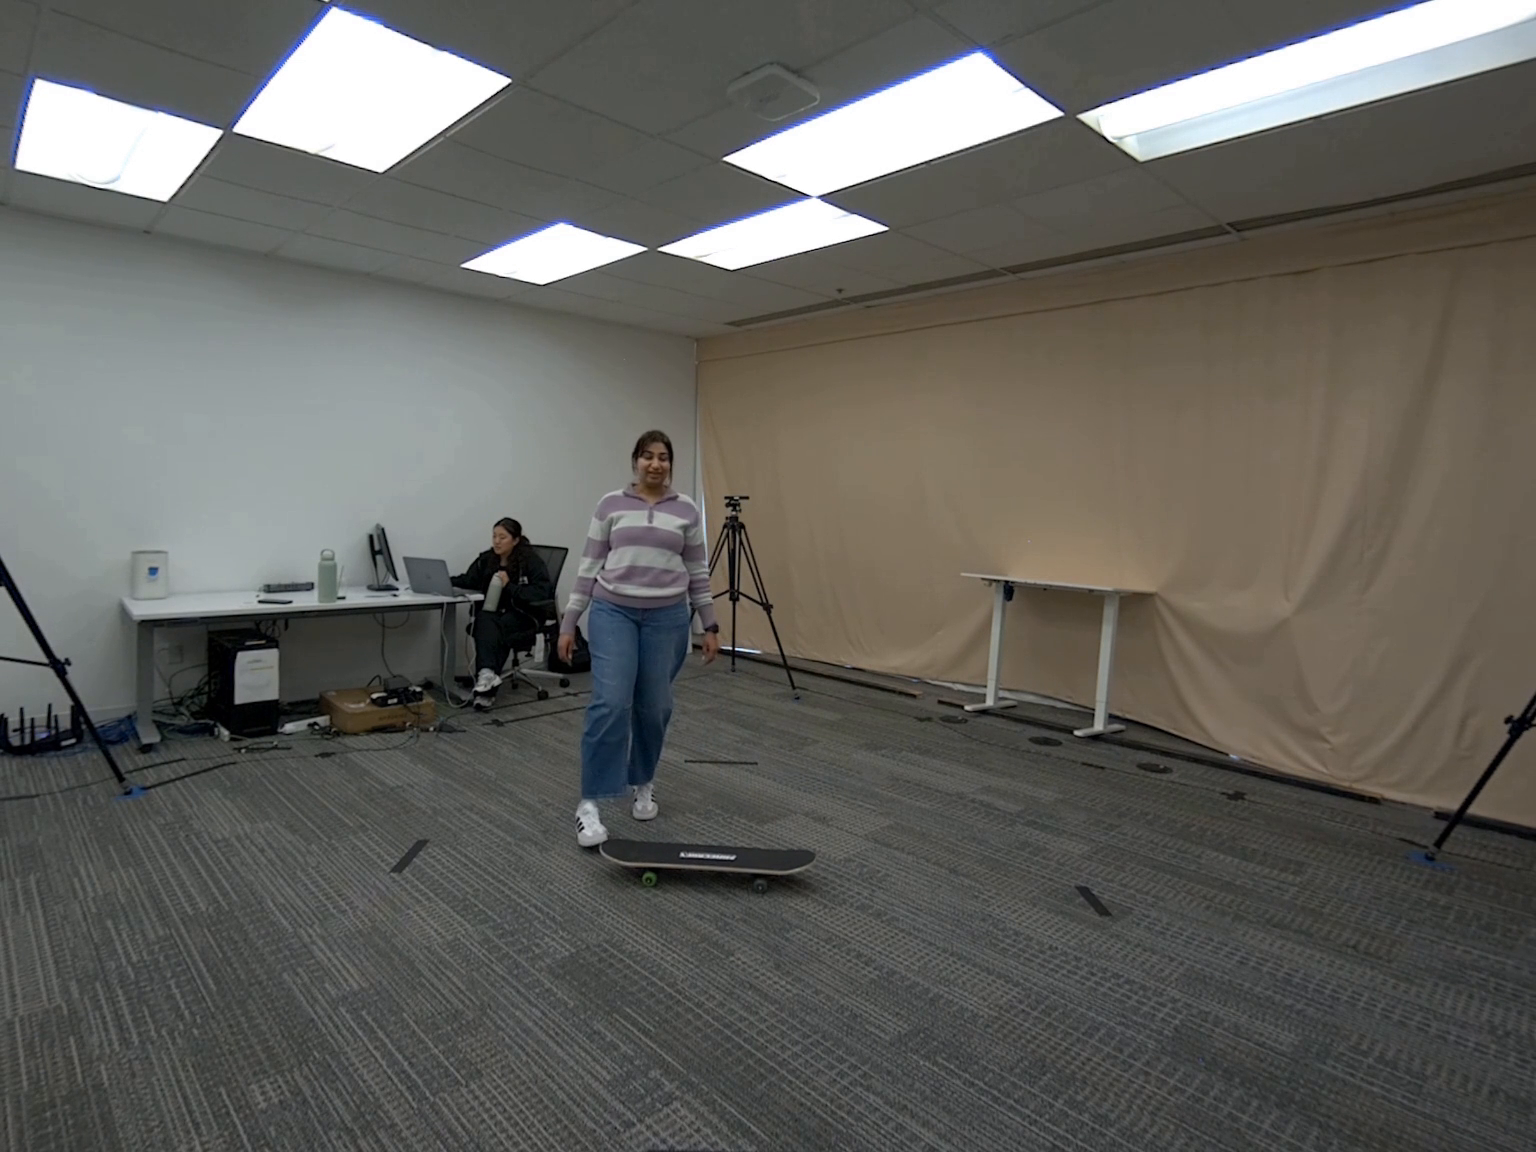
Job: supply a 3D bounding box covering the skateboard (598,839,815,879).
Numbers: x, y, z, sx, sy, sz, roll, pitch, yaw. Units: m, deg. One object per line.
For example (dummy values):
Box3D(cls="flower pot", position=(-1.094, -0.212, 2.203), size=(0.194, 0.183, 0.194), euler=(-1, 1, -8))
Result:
Box3D(cls="skateboard", position=(-0.230, 1.046, 3.060), size=(0.788, 0.110, 0.193), euler=(1, 4, 5))
